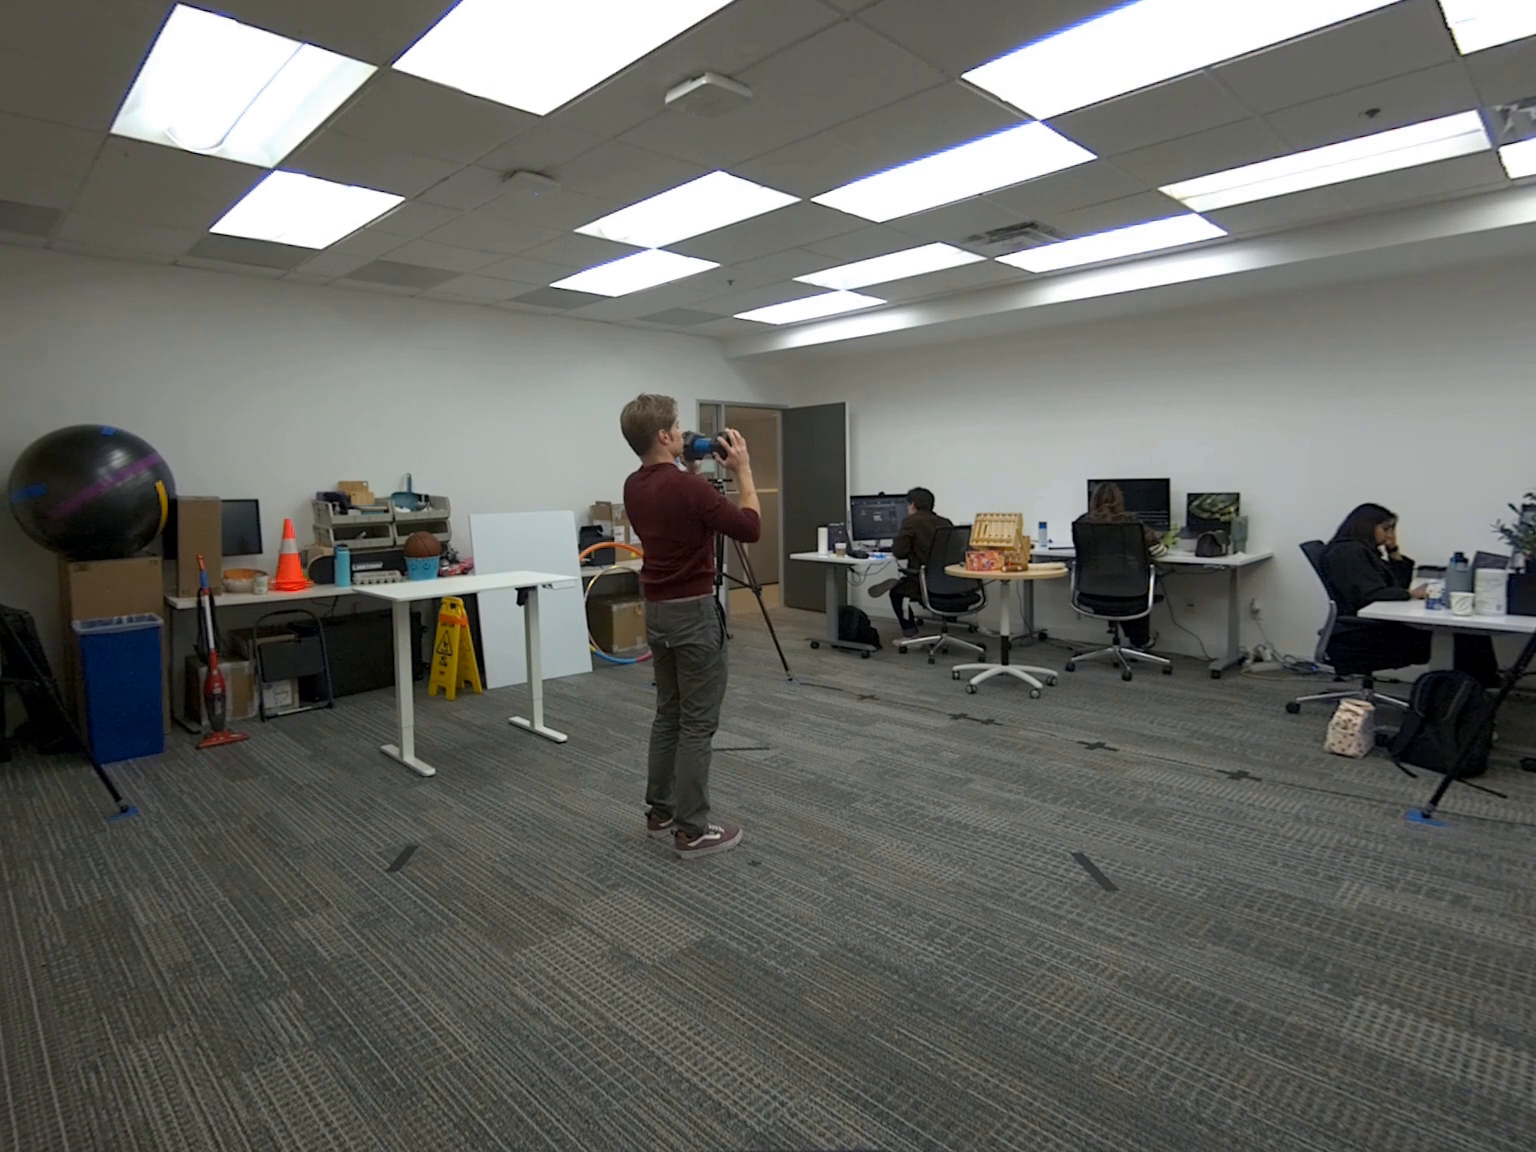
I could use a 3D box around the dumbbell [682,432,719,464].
[{"bbox_3d":[-0.230,-0.507,3.315,0.108,0.120,0.303,-35,28,-30],"label":"dumbbell"}]
